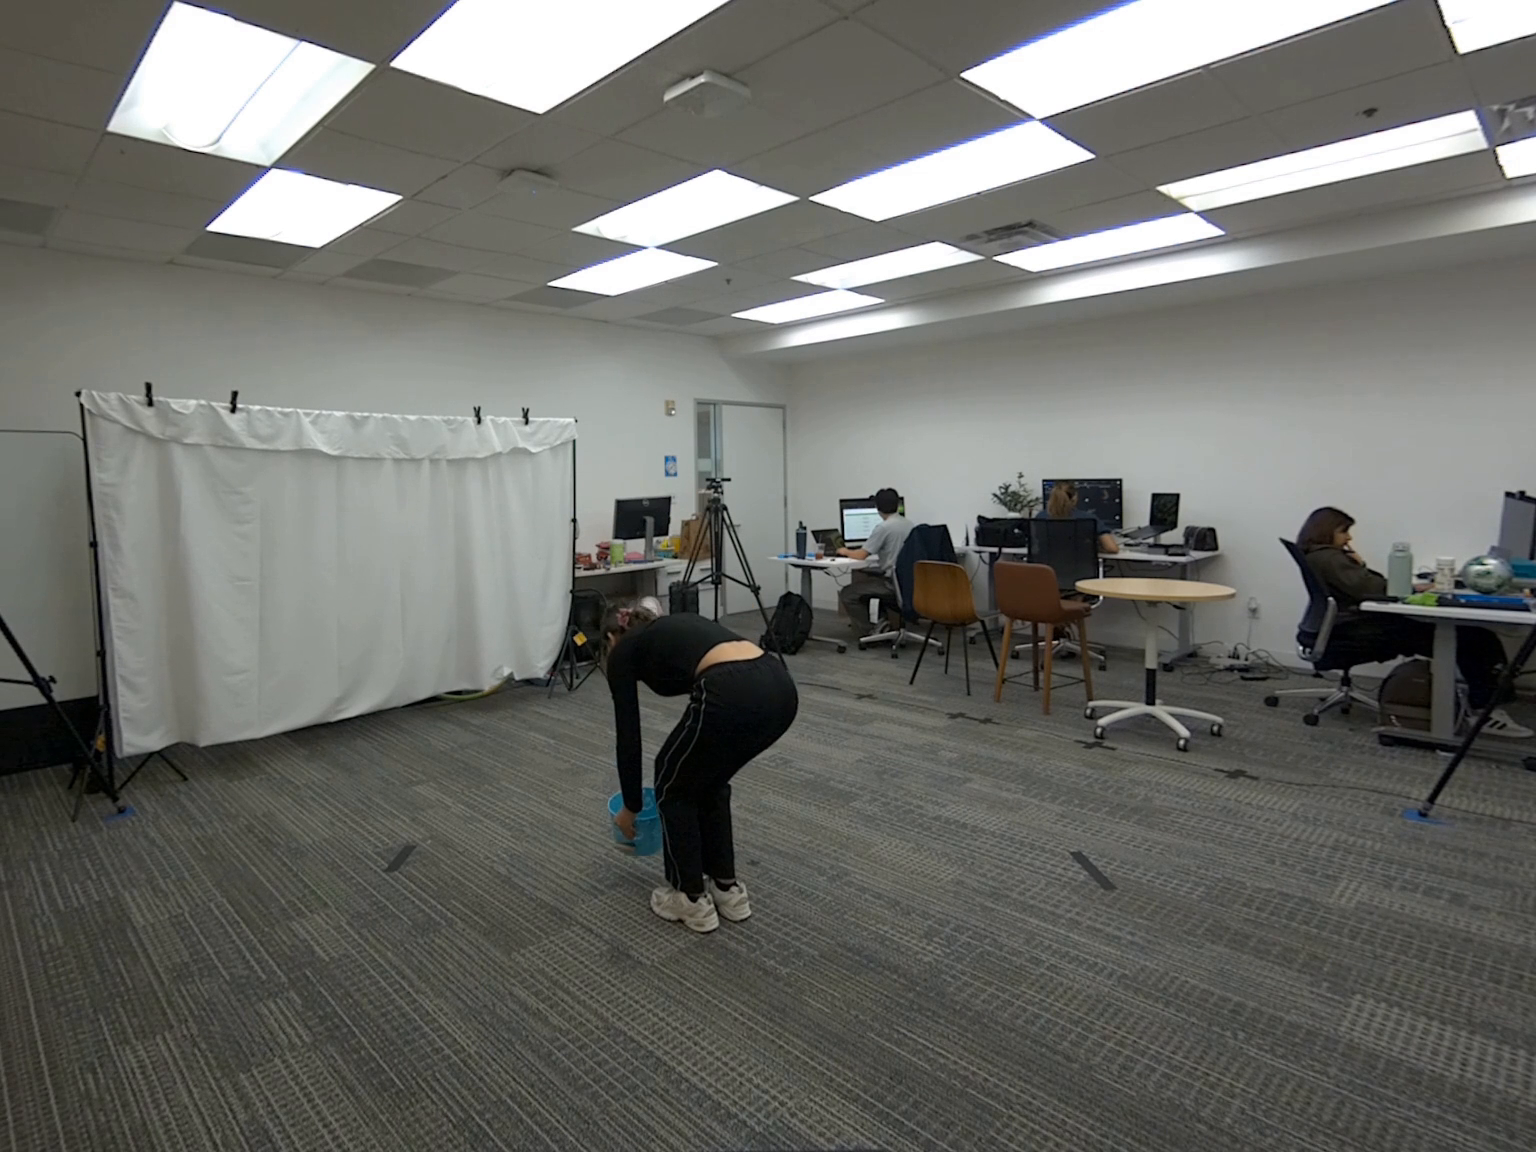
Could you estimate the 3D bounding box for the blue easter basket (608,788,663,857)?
[{"bbox_3d":[-0.440,0.861,2.975,0.243,0.154,0.246,1,12,-2],"label":"blue easter basket"}]
